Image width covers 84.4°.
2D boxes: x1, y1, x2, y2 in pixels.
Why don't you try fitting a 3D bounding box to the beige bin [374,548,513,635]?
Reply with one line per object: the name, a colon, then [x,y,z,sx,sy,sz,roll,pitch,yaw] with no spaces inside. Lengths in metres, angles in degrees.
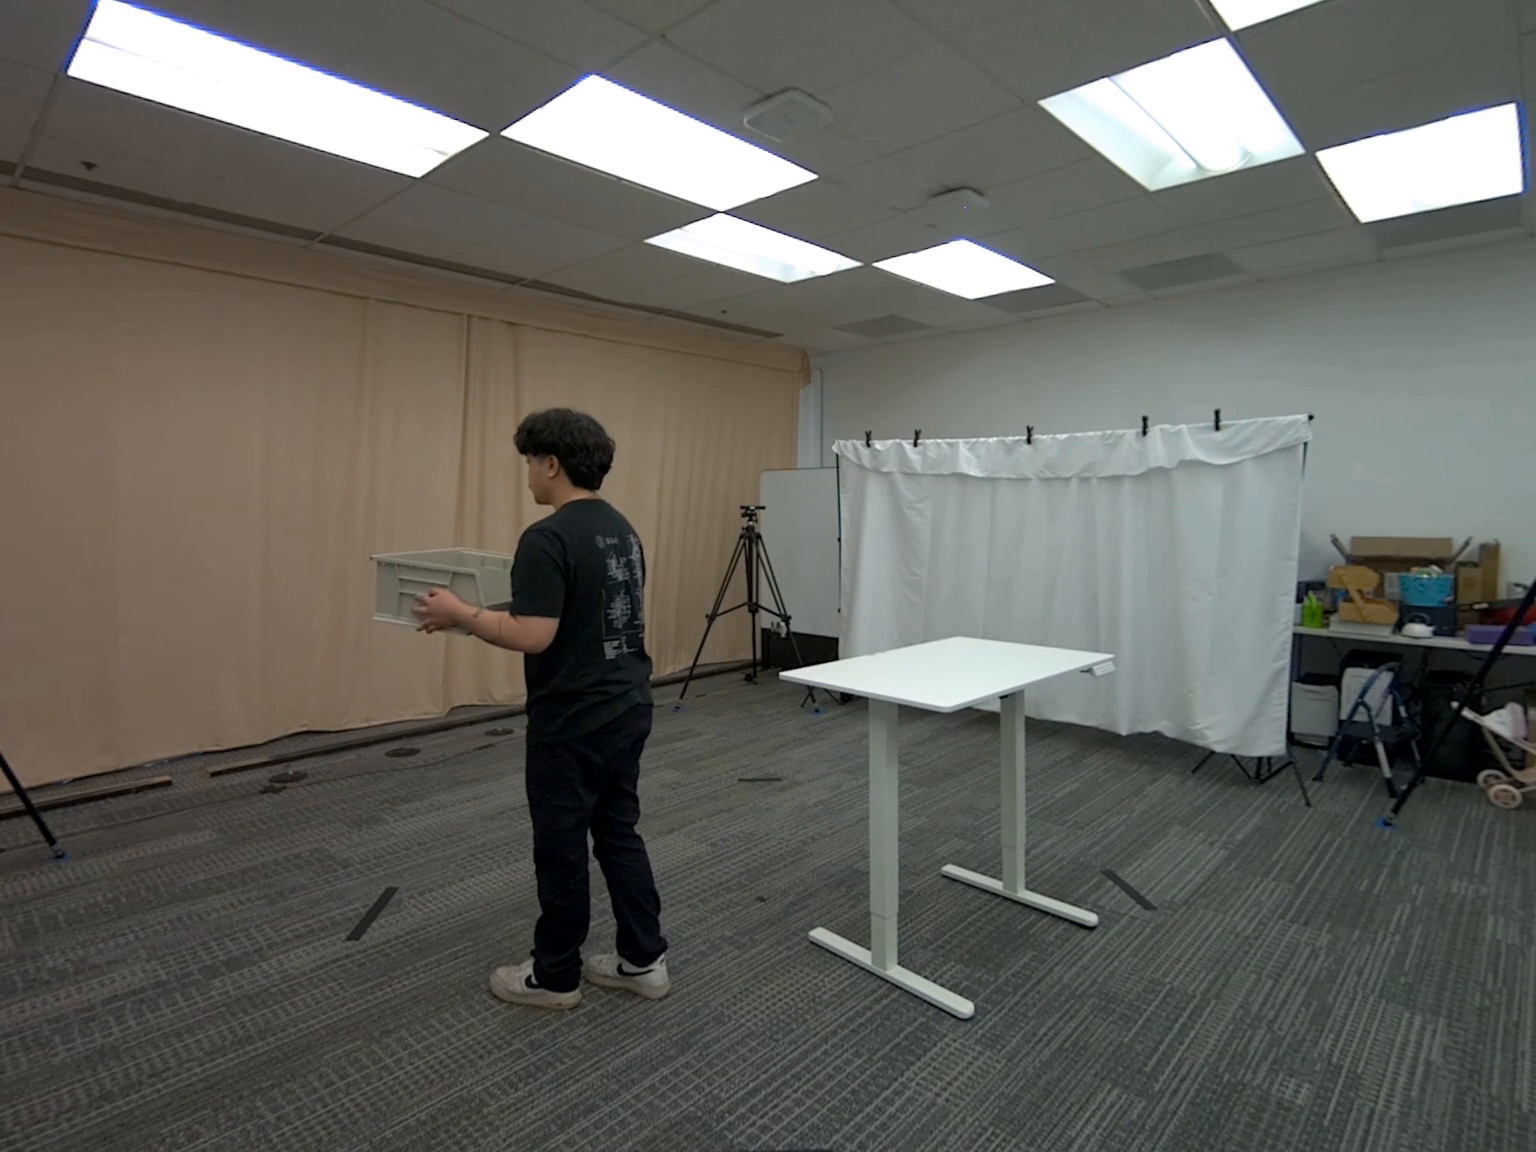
beige bin: [-0.864,0.036,2.475,0.384,0.188,0.416,4,6,16]
